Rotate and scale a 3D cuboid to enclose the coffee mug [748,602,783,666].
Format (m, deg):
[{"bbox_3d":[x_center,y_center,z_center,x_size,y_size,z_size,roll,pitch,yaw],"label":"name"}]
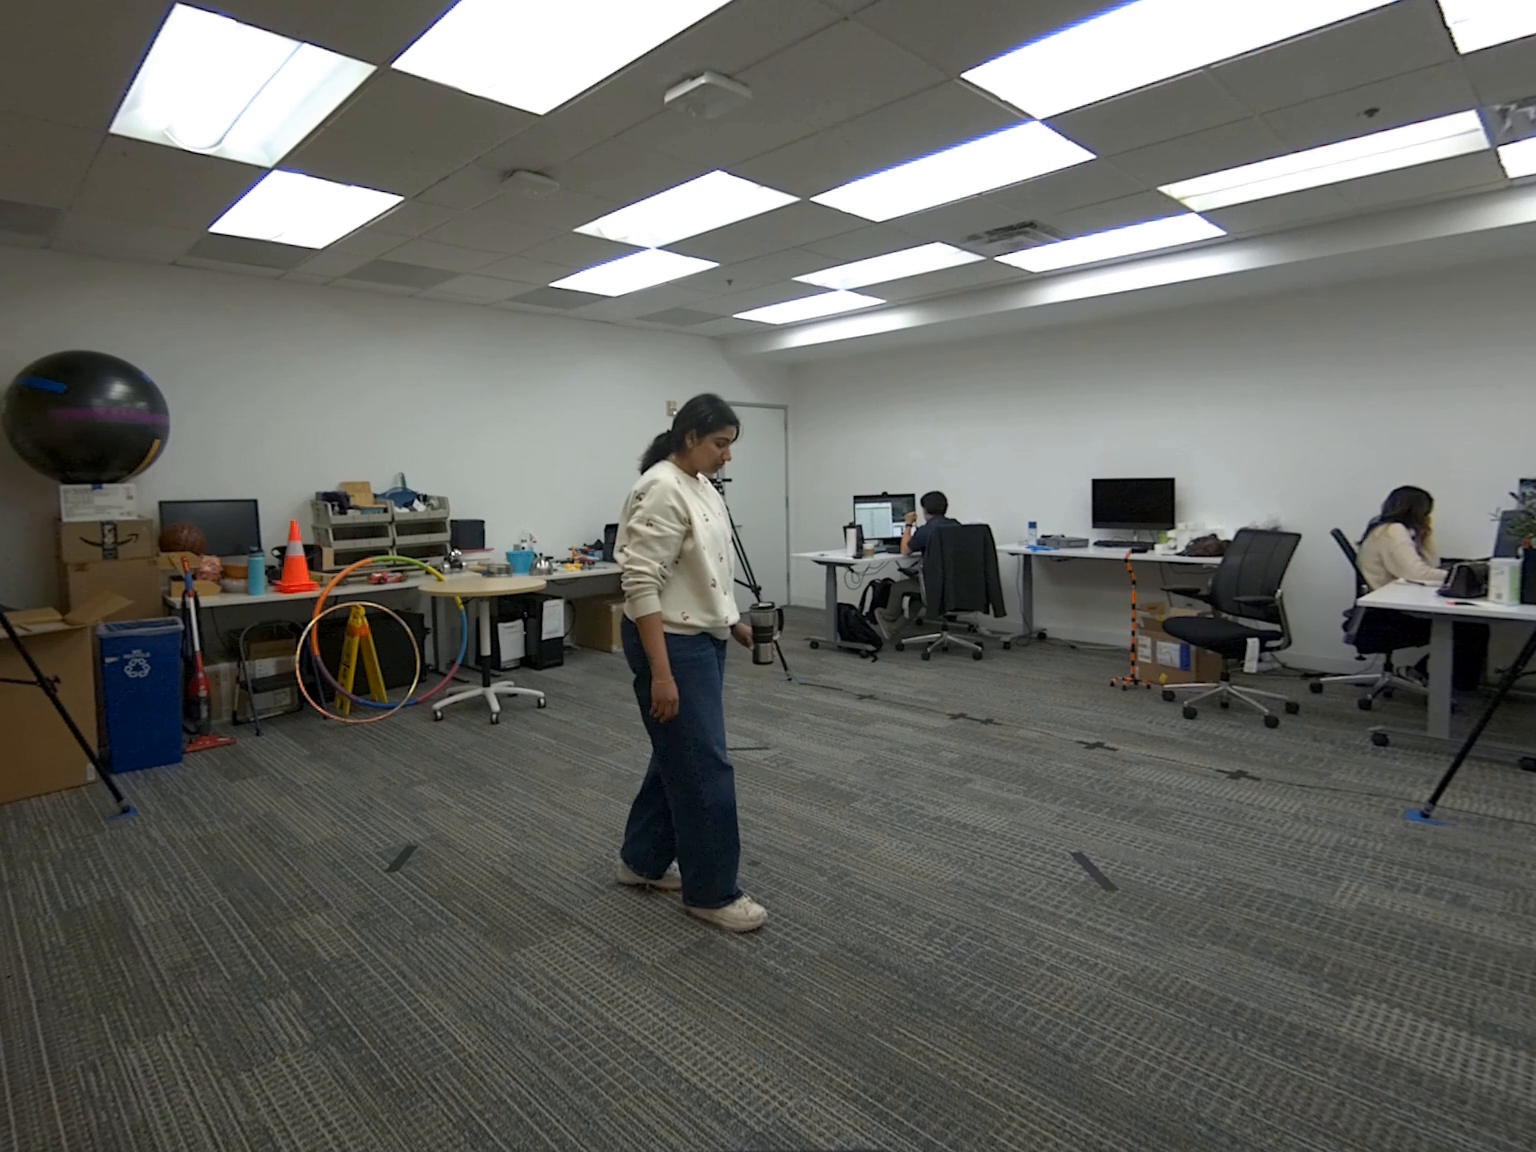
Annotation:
[{"bbox_3d":[-0.002,0.193,2.872,0.121,0.202,0.089,-4,3,-12],"label":"coffee mug"}]
